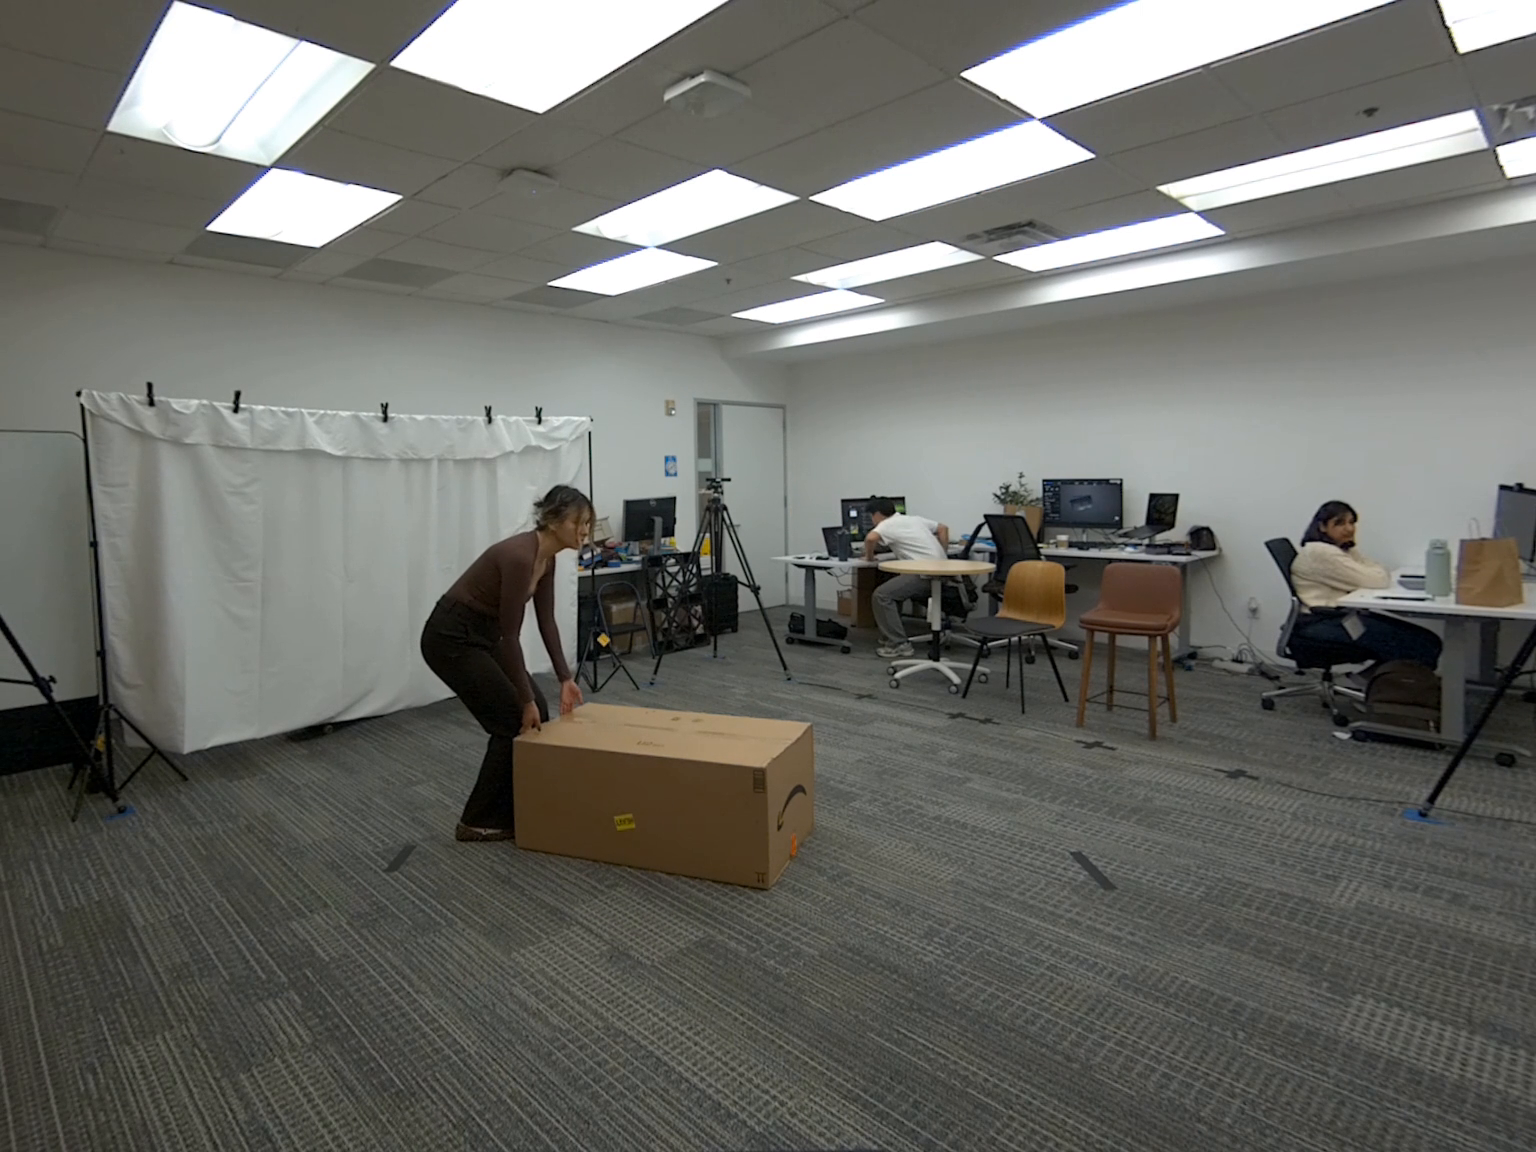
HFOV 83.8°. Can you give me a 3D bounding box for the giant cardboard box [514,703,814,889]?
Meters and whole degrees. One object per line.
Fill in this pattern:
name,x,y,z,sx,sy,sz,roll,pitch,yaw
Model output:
giant cardboard box,-0.389,0.812,3.326,1.048,0.445,0.575,1,6,21
